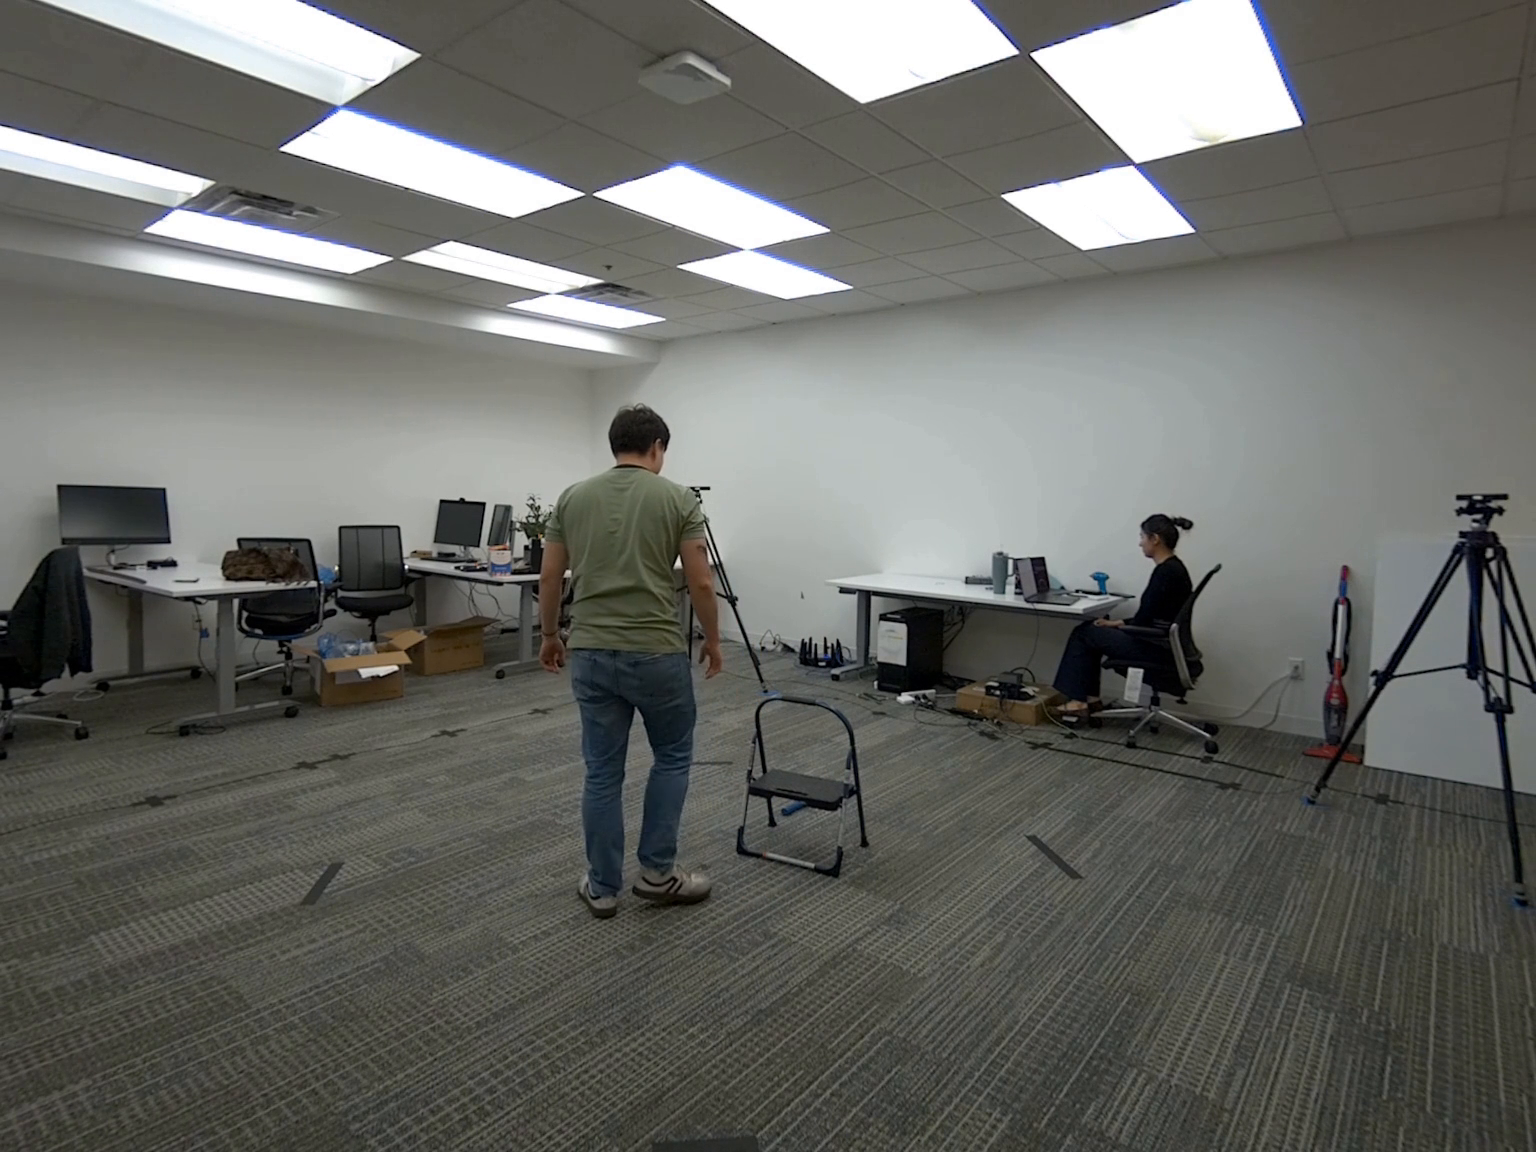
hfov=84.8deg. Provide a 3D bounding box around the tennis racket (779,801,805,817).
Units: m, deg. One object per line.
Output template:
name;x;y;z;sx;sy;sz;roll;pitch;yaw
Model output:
tennis racket;0.180;0.984;3.790;0.221;0.031;0.420;5;6;37
